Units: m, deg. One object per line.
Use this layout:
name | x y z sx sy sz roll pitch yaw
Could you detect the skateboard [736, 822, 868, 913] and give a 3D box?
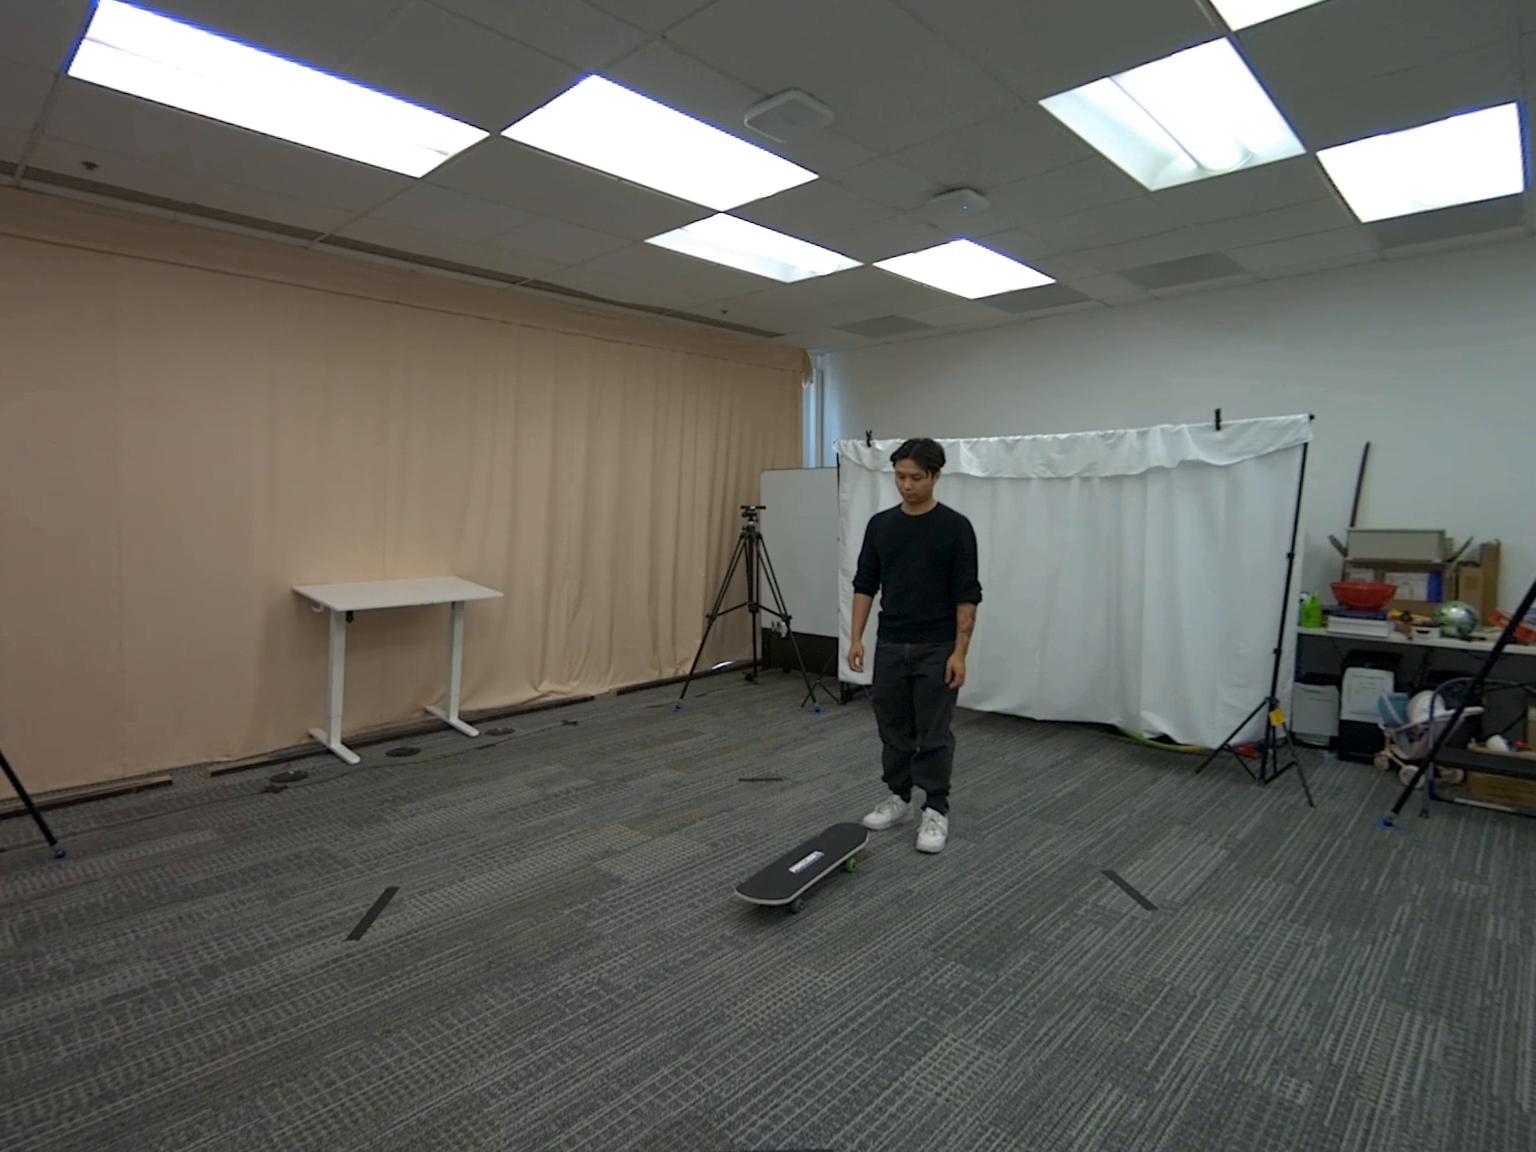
skateboard | 0.148 1.078 3.082 0.199 0.110 0.763 3 6 34
